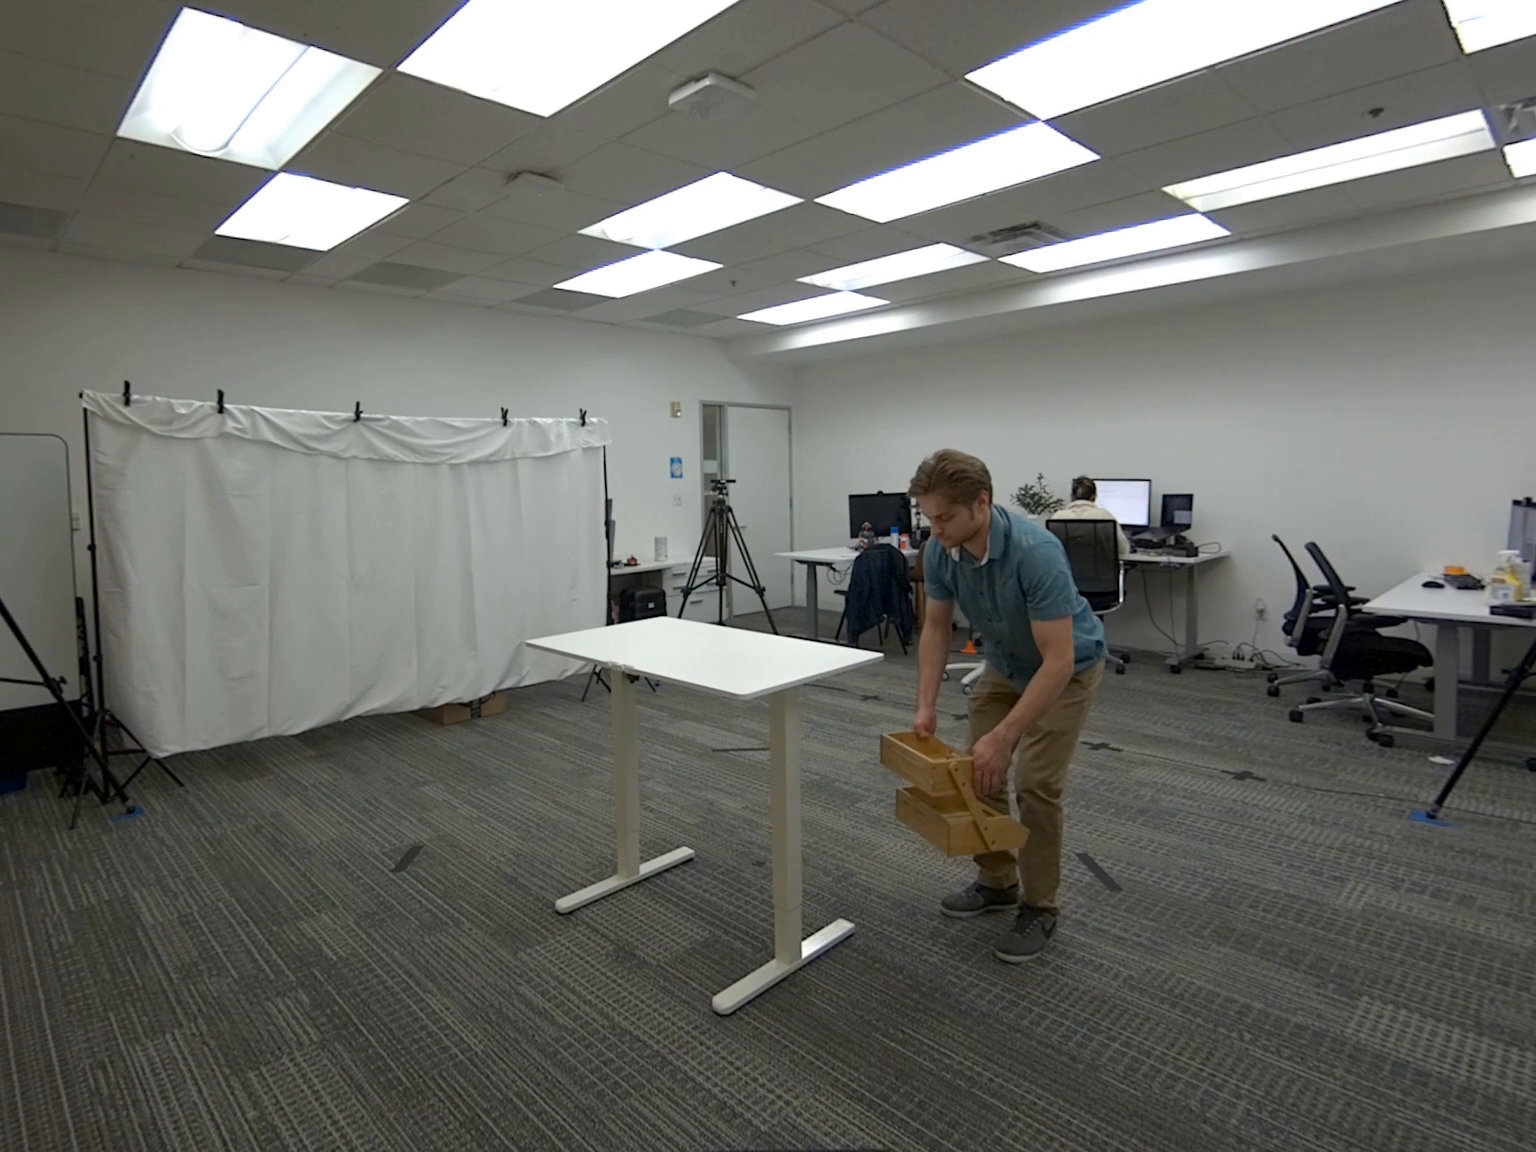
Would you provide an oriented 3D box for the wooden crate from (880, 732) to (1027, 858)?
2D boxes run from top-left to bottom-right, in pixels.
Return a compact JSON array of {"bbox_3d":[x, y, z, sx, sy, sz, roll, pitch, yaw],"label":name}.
[{"bbox_3d":[0.542,0.607,2.437,0.297,0.273,0.330,-1,3,-18],"label":"wooden crate"}]
